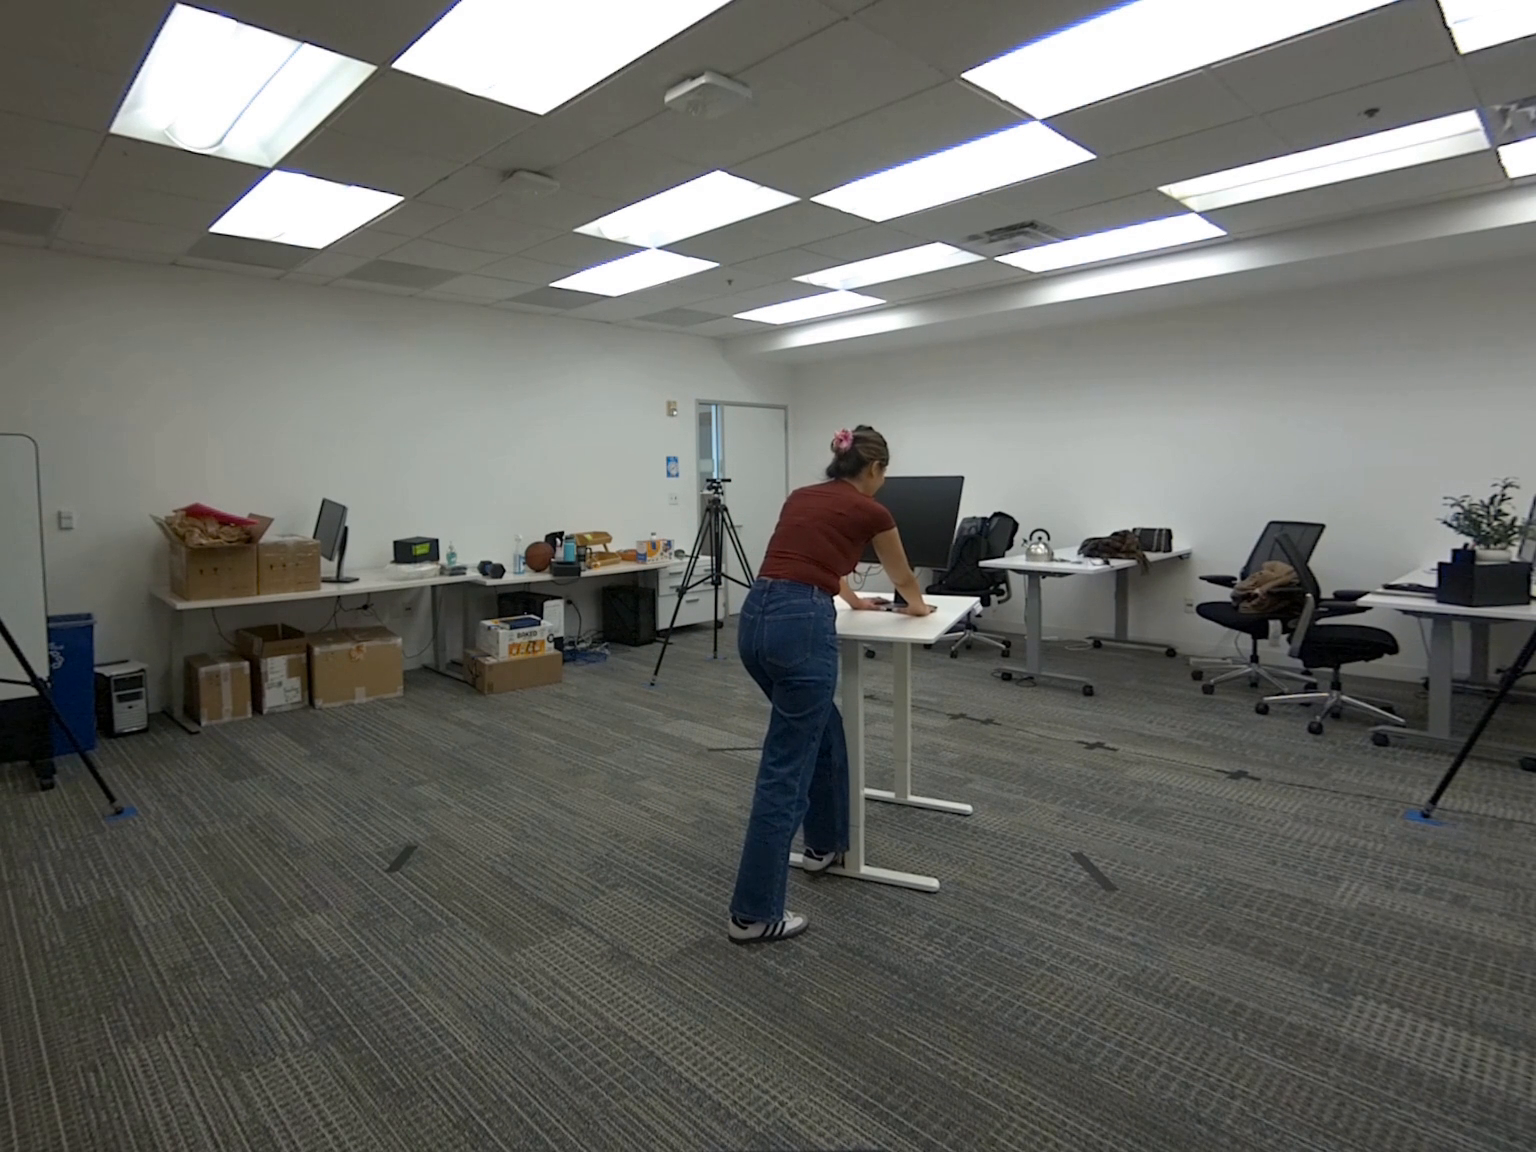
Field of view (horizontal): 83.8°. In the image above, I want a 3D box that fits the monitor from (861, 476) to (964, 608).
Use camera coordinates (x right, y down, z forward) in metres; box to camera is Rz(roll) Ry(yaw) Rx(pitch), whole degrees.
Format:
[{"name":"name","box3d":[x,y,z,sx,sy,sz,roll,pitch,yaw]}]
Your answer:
[{"name":"monitor","box3d":[0.520,-0.125,3.326,0.555,0.521,0.182,4,4,42]}]
